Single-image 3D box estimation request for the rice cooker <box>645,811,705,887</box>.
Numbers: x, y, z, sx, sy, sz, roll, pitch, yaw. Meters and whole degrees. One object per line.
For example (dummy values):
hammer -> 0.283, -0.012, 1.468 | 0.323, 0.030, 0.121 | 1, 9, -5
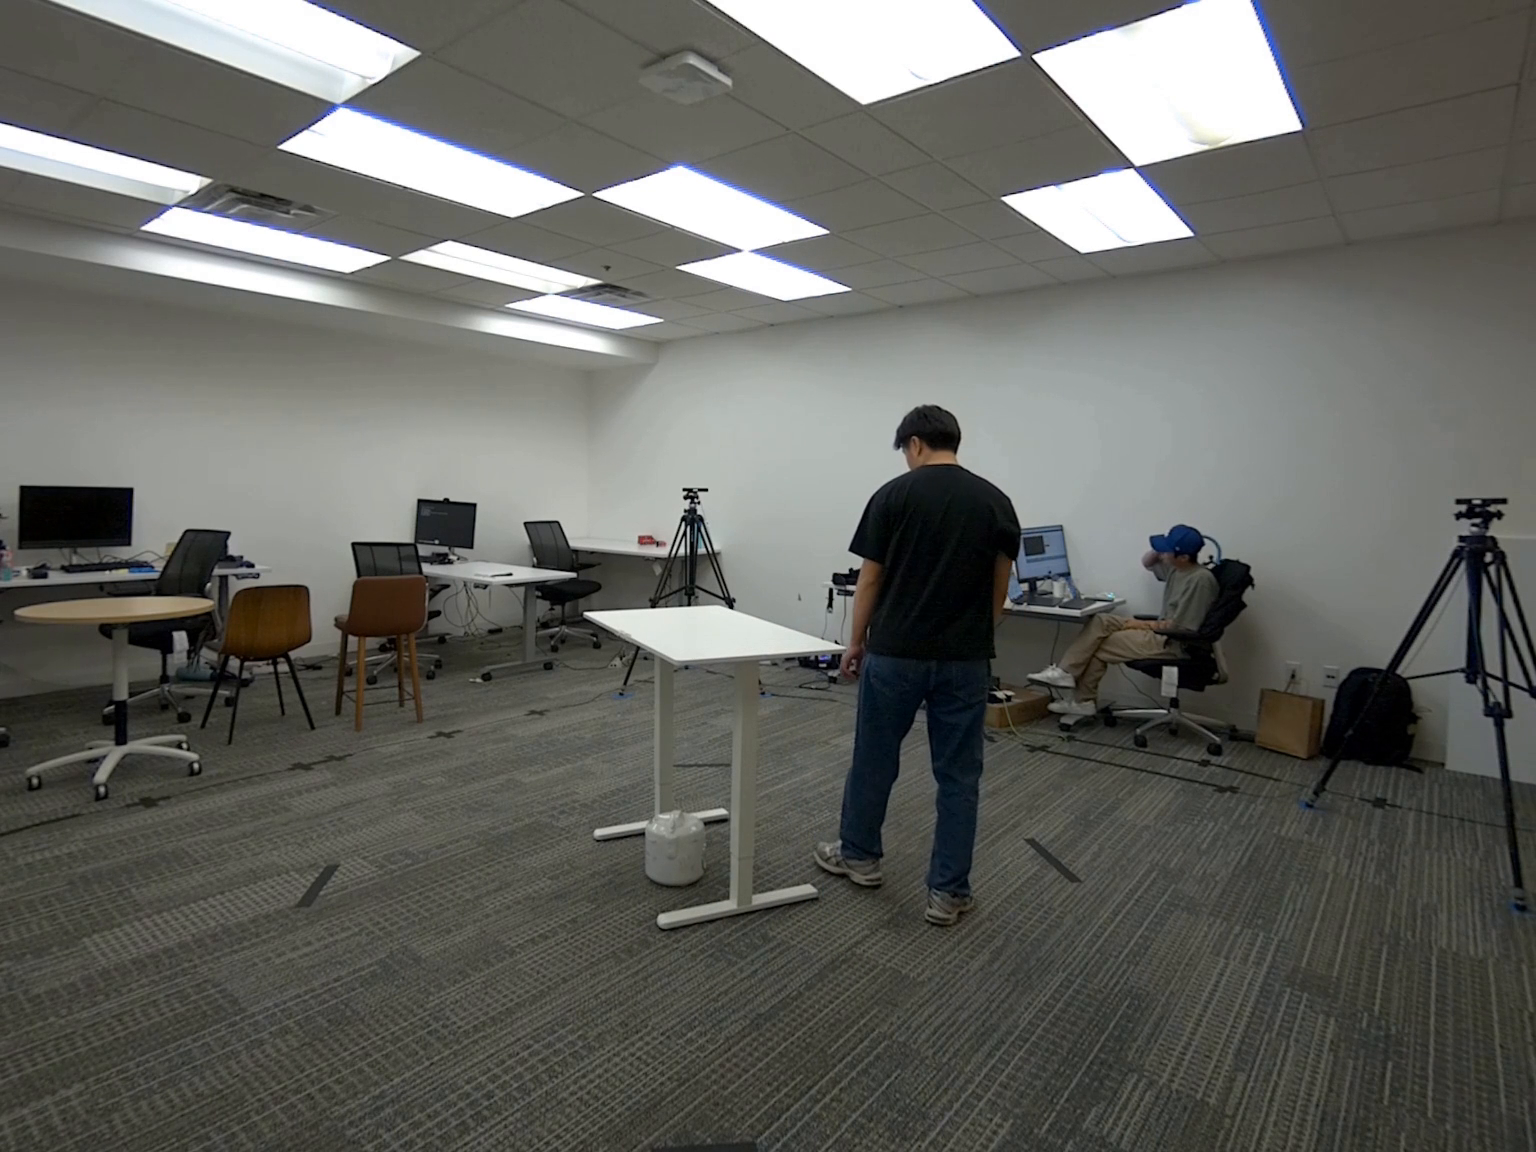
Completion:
rice cooker -> -0.343, 0.957, 3.040 | 0.219, 0.232, 0.220 | 0, 4, 5
